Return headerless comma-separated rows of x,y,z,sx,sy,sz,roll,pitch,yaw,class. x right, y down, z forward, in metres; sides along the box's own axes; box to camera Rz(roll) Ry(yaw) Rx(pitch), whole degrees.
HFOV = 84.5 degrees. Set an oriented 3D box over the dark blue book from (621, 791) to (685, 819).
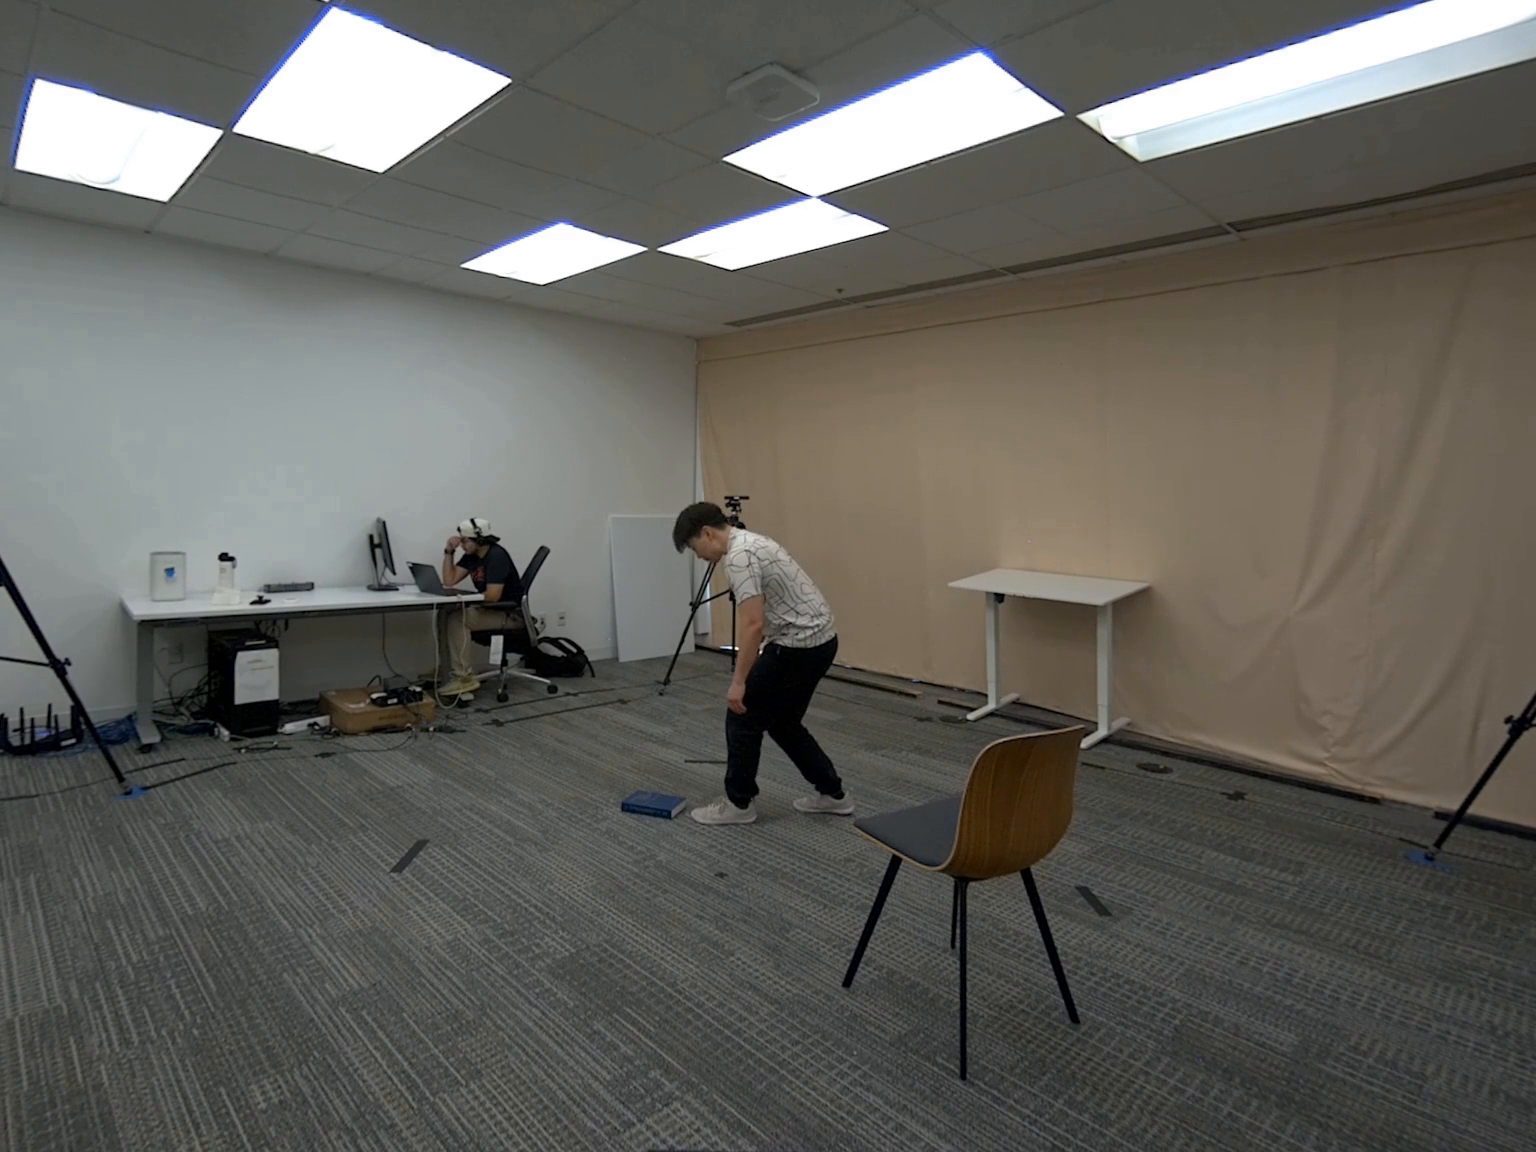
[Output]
-0.511,1.008,3.743,0.249,0.045,0.161,3,4,20,dark blue book
